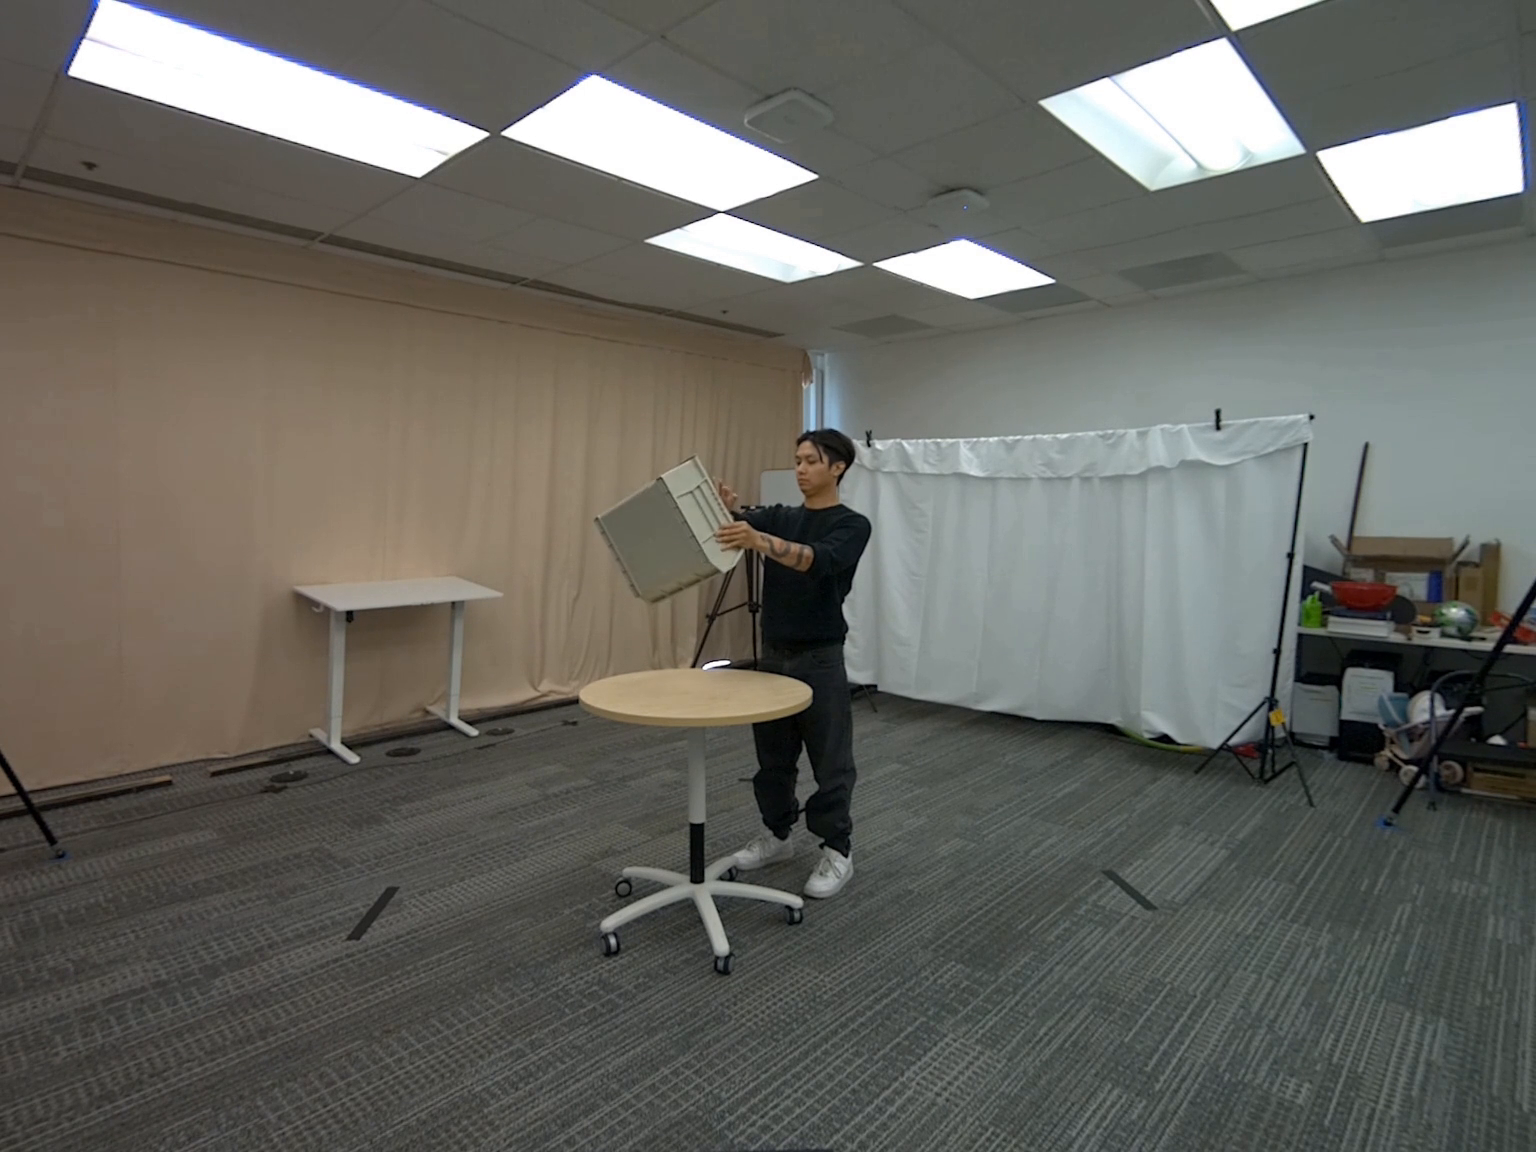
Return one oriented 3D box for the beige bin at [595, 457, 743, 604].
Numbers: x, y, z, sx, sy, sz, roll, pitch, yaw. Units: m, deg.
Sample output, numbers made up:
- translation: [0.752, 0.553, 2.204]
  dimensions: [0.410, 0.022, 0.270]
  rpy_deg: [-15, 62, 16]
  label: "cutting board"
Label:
- translation: [-0.332, -0.129, 2.831]
  dimensions: [0.431, 0.376, 0.186]
  rpy_deg: [-25, 7, 44]
  label: "beige bin"
